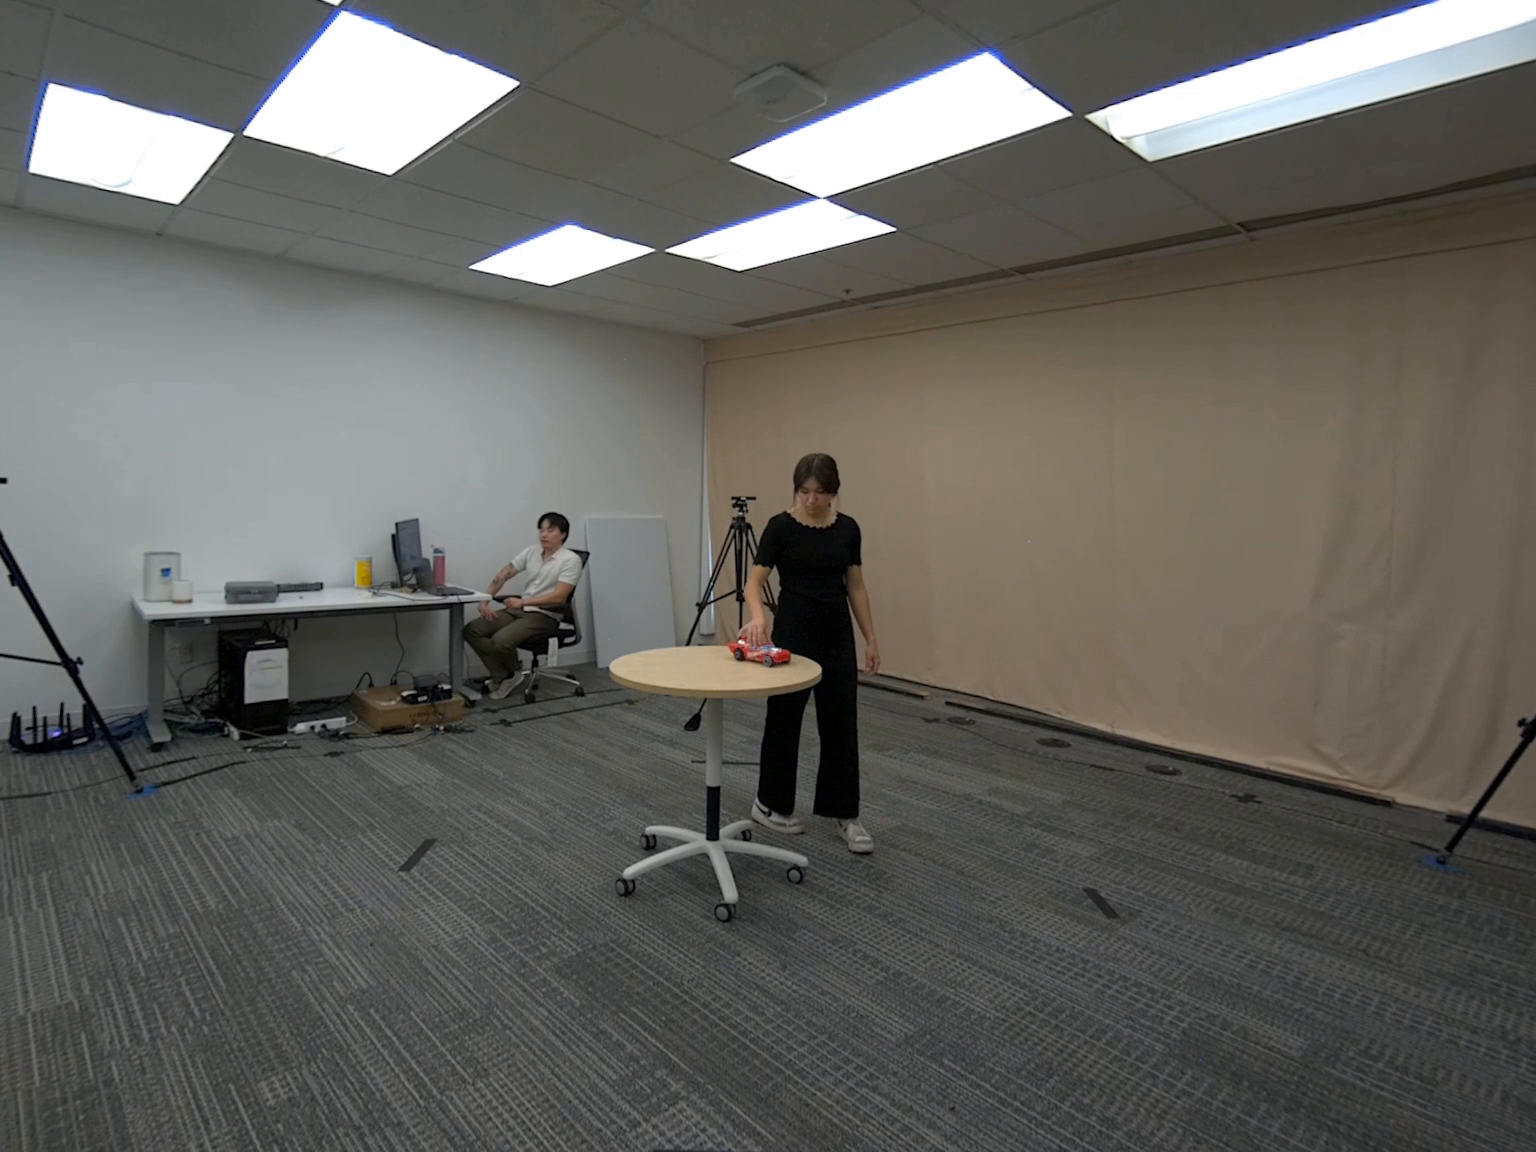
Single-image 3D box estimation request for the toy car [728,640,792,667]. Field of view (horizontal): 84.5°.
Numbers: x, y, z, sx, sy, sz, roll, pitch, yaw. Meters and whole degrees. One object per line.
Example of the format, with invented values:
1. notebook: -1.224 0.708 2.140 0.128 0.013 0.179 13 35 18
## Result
1. toy car: -0.047 0.287 3.143 0.262 0.082 0.127 20 17 40
